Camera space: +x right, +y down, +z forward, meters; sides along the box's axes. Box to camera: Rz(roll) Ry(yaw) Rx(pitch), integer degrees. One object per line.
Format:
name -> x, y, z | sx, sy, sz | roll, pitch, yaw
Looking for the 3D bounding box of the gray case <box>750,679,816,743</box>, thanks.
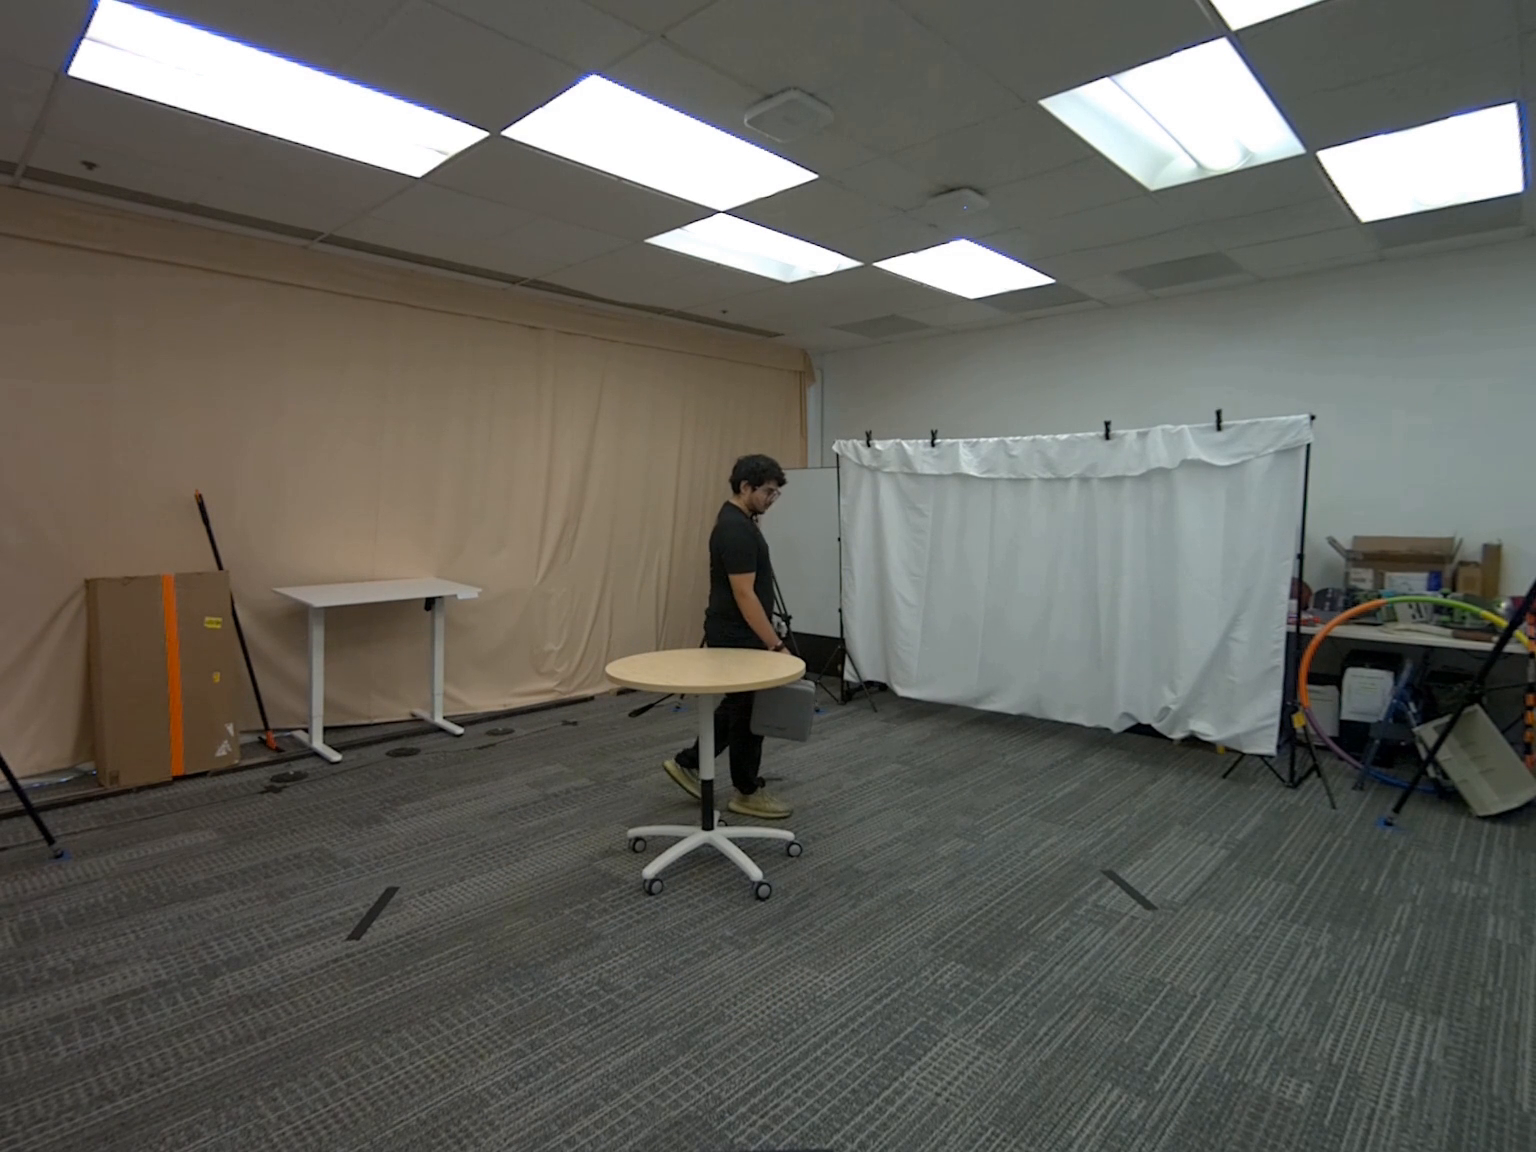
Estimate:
gray case -> 0.062, 0.554, 3.593 | 0.260, 0.259, 0.104 | 7, 12, 10
